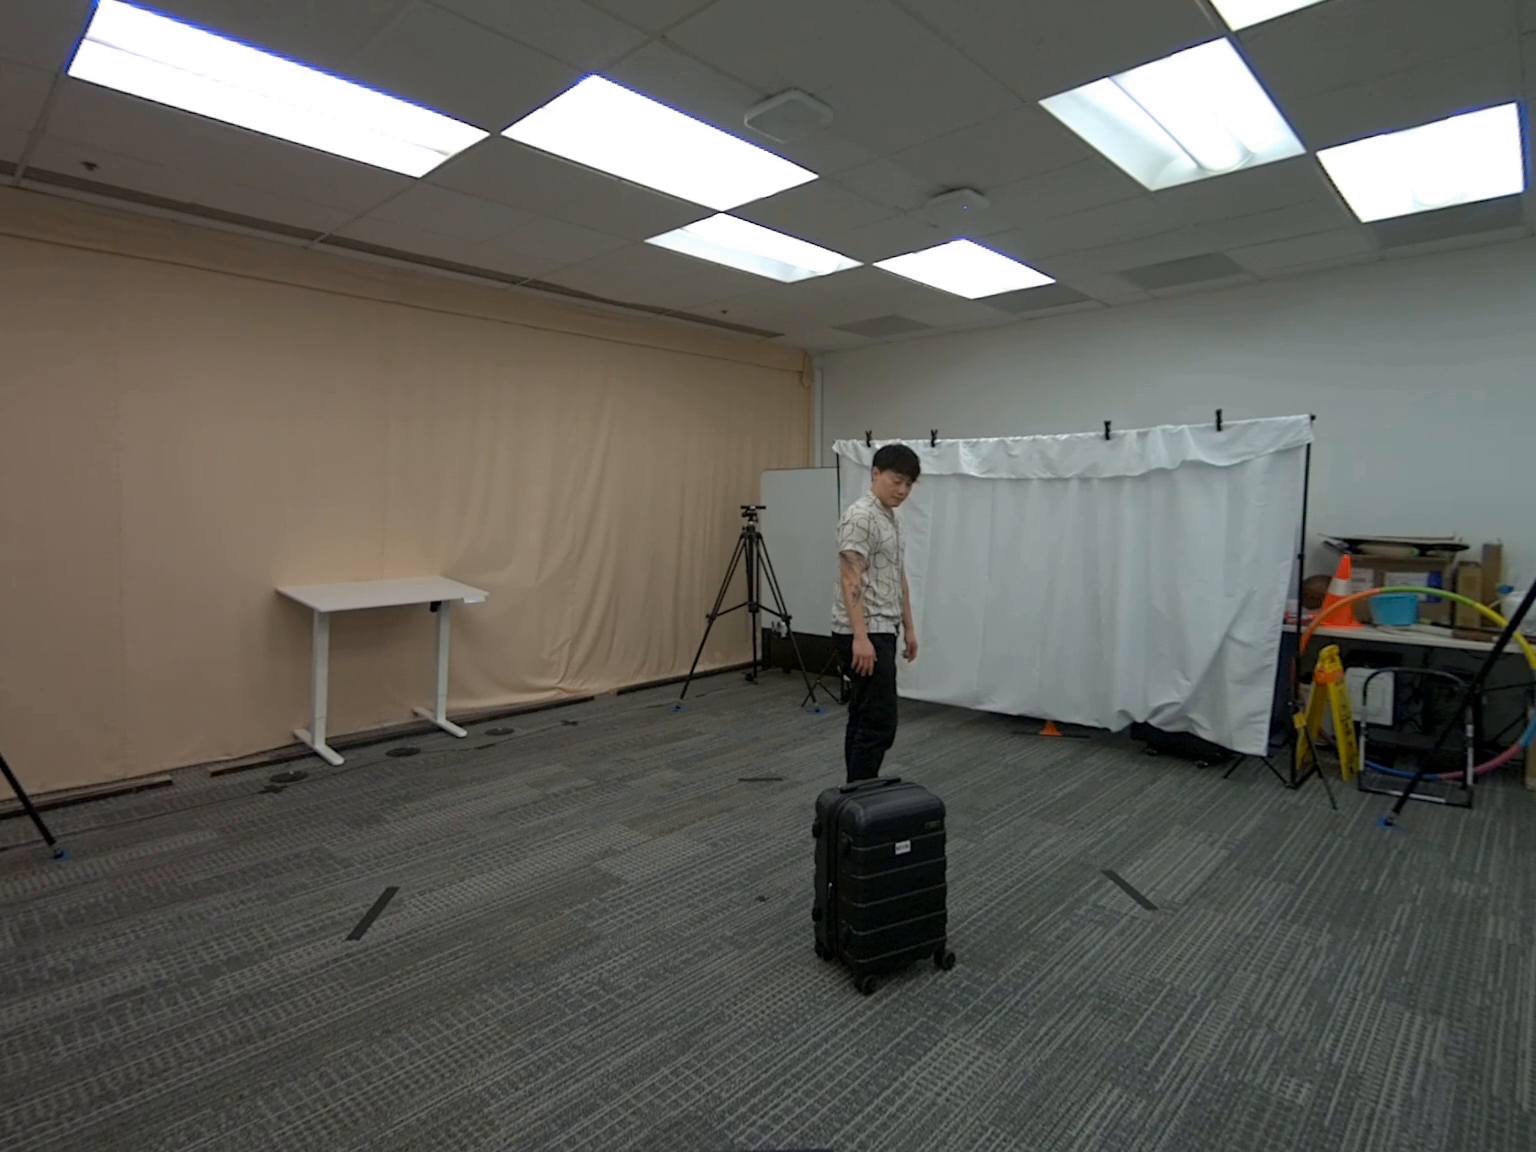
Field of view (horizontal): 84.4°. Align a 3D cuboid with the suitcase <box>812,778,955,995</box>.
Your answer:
[{"bbox_3d":[0.347,0.902,2.541,0.366,0.548,0.255,-2,3,-26],"label":"suitcase"}]
